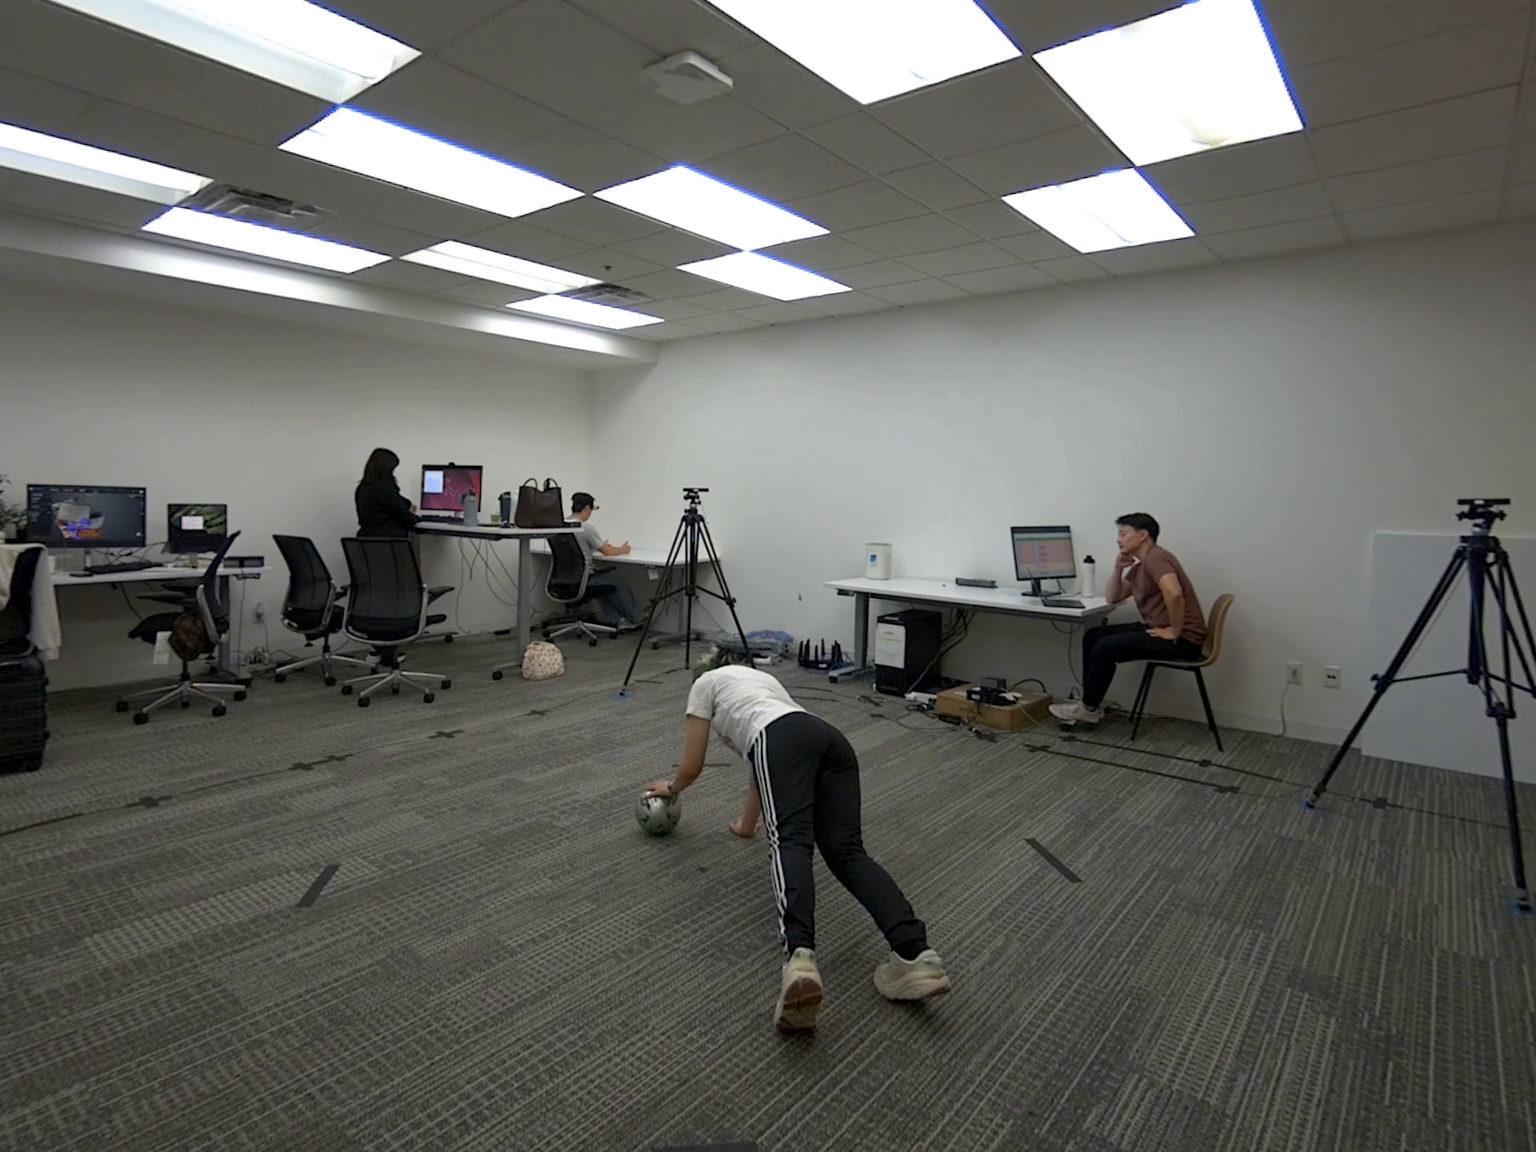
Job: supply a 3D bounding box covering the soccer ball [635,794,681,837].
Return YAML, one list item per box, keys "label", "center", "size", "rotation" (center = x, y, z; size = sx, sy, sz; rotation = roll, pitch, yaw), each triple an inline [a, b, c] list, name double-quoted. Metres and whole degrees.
- label: "soccer ball"
  center: [-0.449, 0.941, 3.432]
  size: [0.187, 0.187, 0.188]
  rotation: [1, 4, -2]
